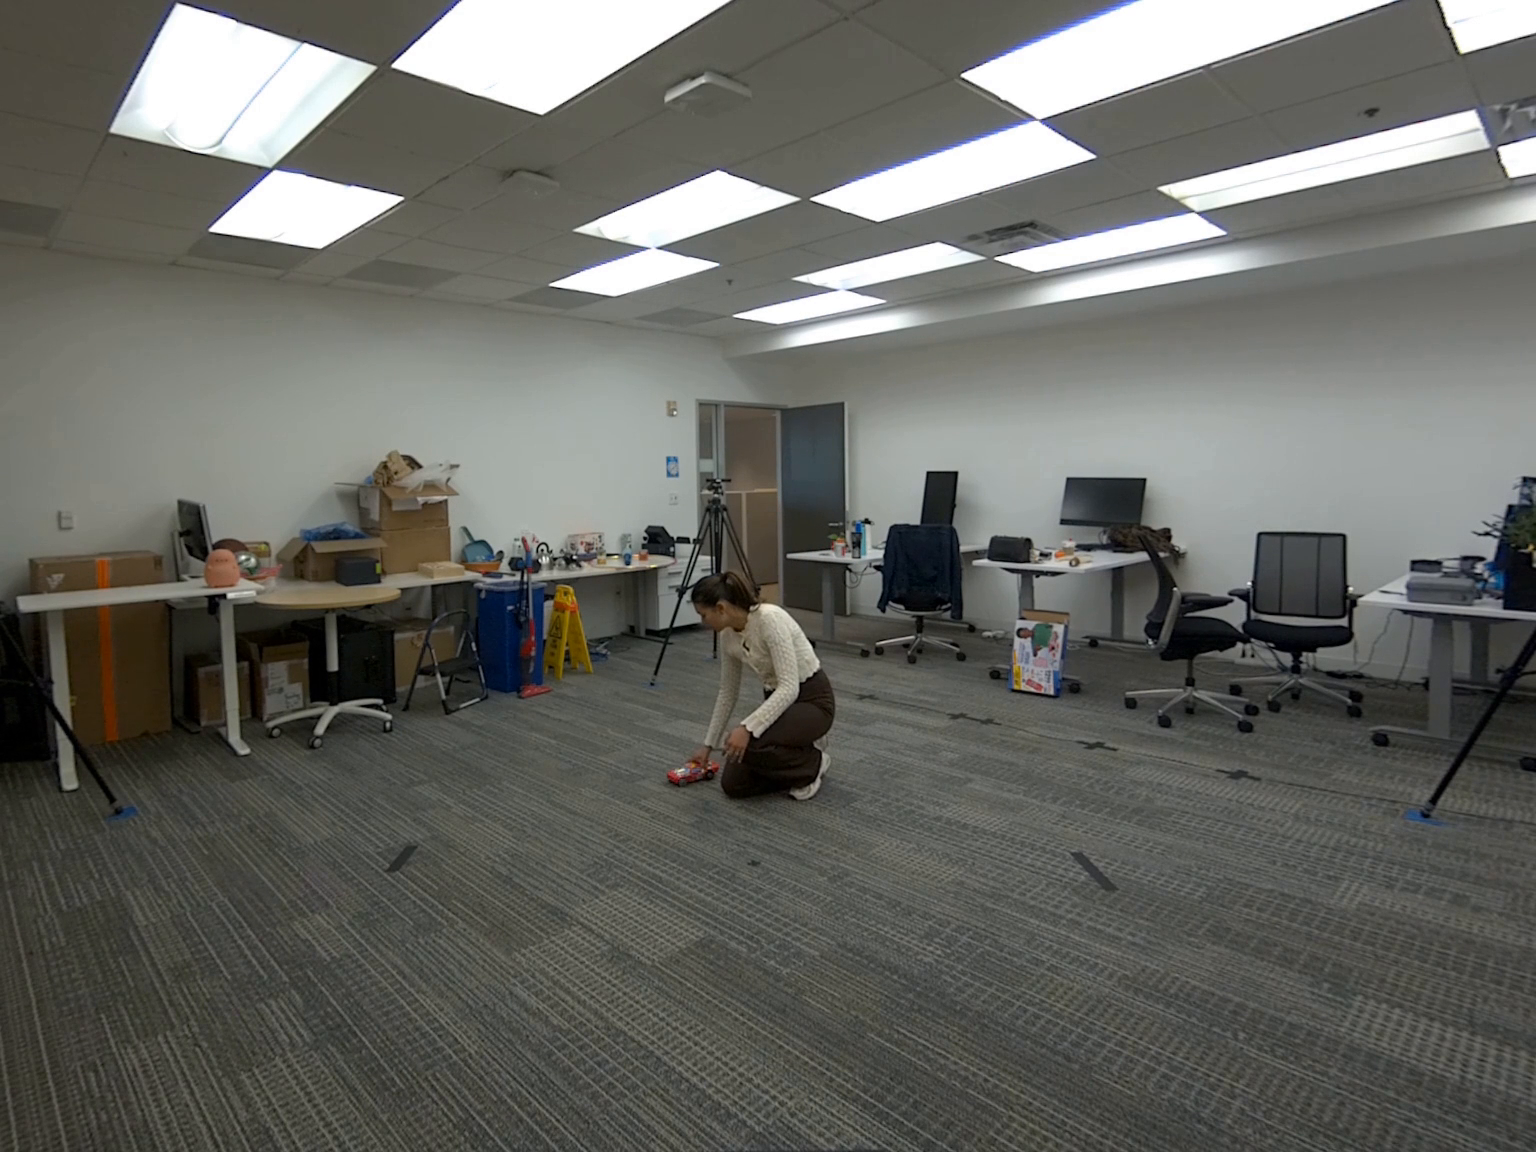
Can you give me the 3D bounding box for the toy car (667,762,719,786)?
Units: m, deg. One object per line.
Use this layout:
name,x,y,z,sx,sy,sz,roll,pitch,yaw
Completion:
toy car,-0.344,0.920,4.001,0.250,0.082,0.134,-16,12,-31
